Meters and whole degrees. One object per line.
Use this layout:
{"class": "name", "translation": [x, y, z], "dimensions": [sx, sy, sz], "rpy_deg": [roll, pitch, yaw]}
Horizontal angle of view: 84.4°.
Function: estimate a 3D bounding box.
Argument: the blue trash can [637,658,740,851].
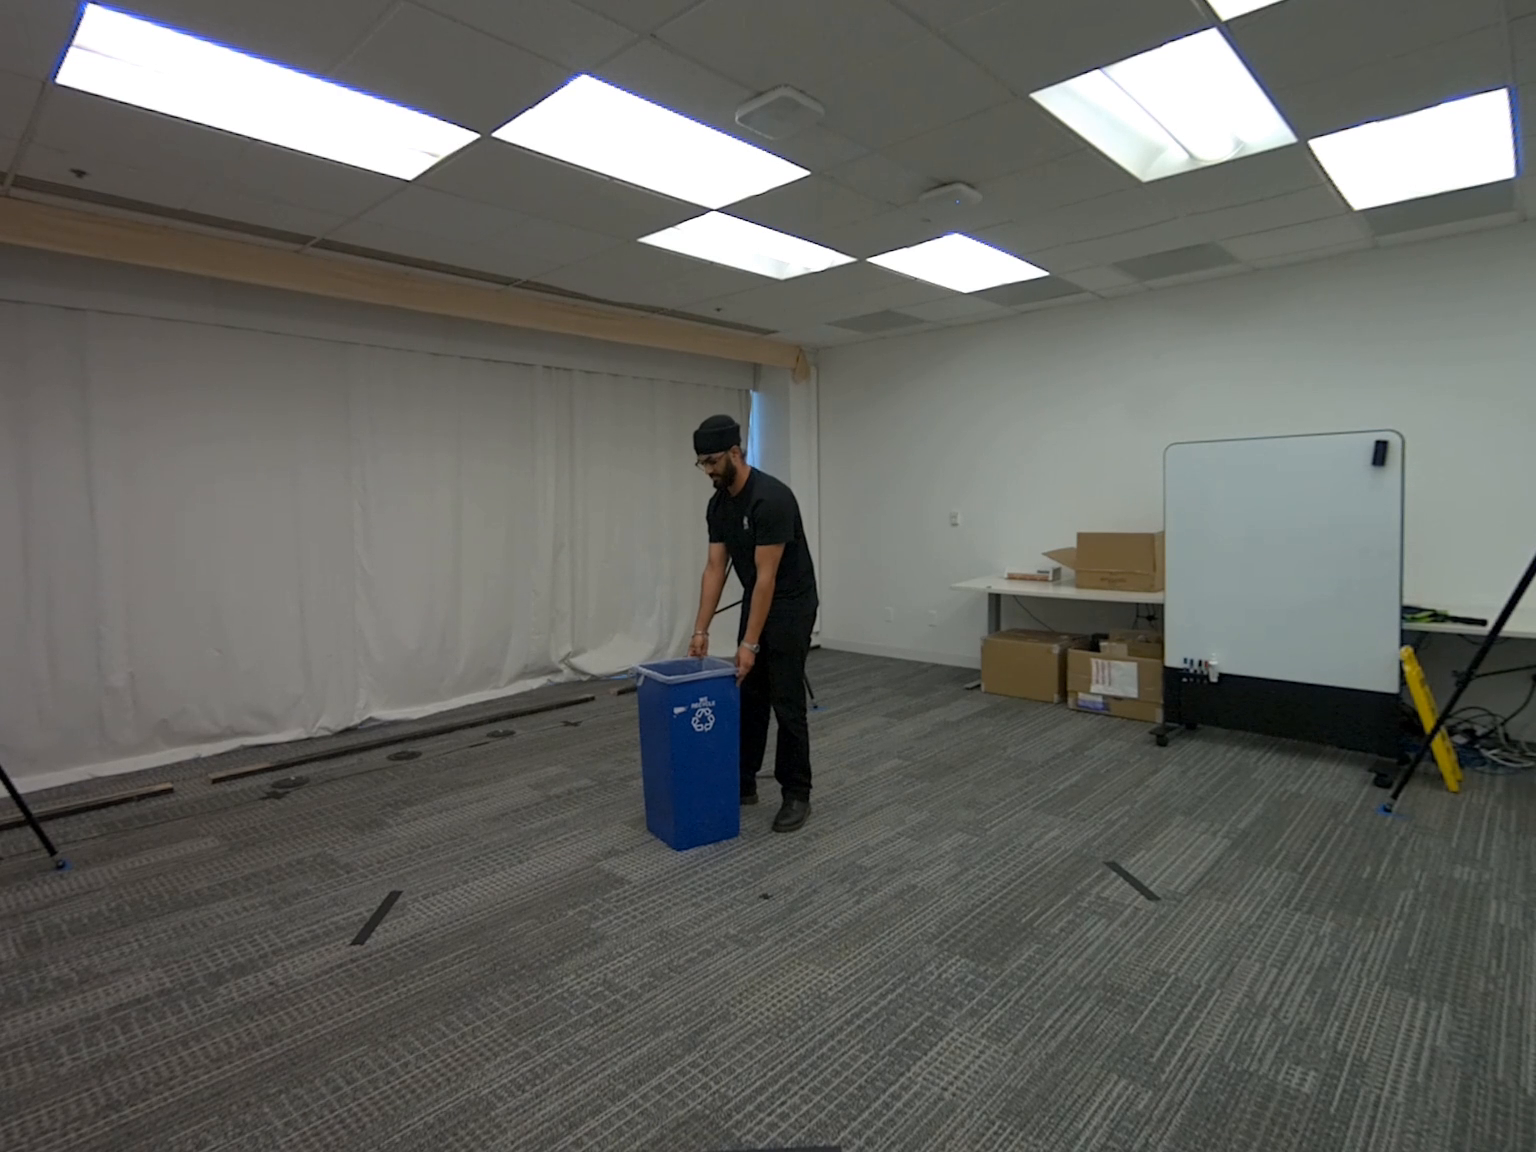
{"class": "blue trash can", "translation": [-0.324, 0.727, 3.573], "dimensions": [0.364, 0.712, 0.389], "rpy_deg": [-5, 4, -32]}
